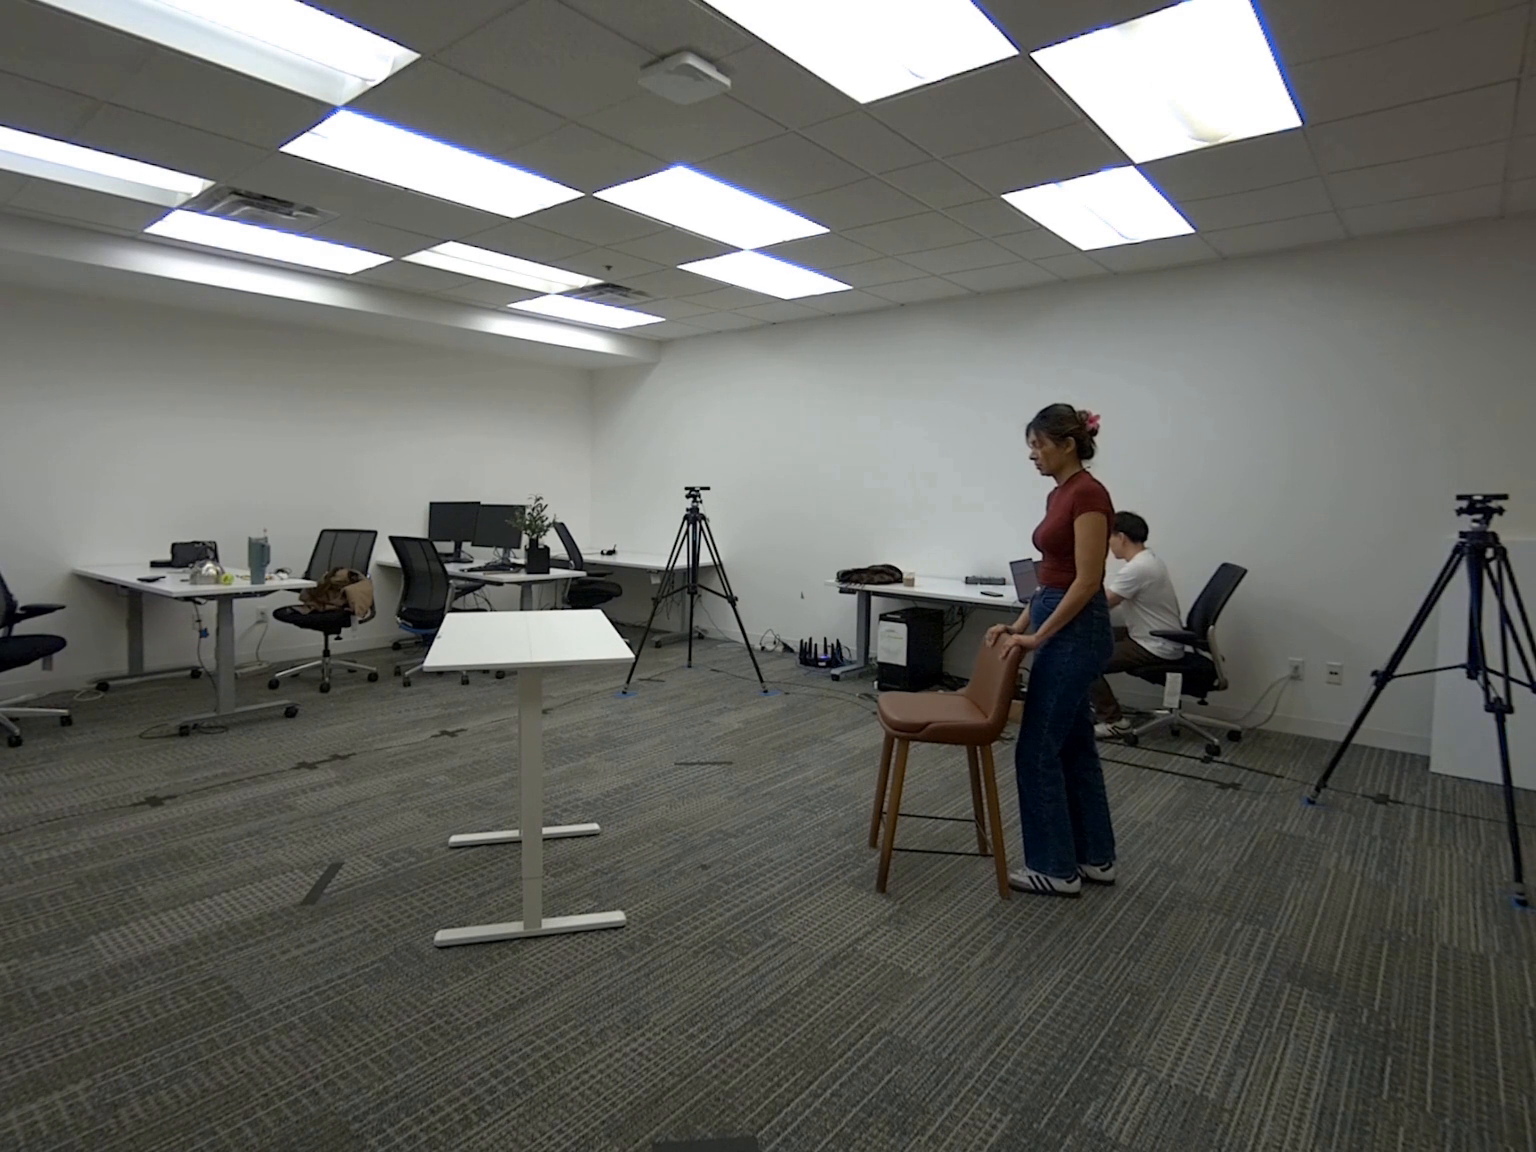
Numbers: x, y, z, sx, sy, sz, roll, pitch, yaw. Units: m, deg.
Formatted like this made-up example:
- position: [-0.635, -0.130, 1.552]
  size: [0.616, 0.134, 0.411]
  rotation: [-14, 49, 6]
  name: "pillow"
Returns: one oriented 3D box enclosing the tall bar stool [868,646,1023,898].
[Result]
- position: [0.622, 0.647, 3.102]
  size: [0.470, 0.887, 0.456]
  rotation: [3, 4, 4]
  name: "tall bar stool"
